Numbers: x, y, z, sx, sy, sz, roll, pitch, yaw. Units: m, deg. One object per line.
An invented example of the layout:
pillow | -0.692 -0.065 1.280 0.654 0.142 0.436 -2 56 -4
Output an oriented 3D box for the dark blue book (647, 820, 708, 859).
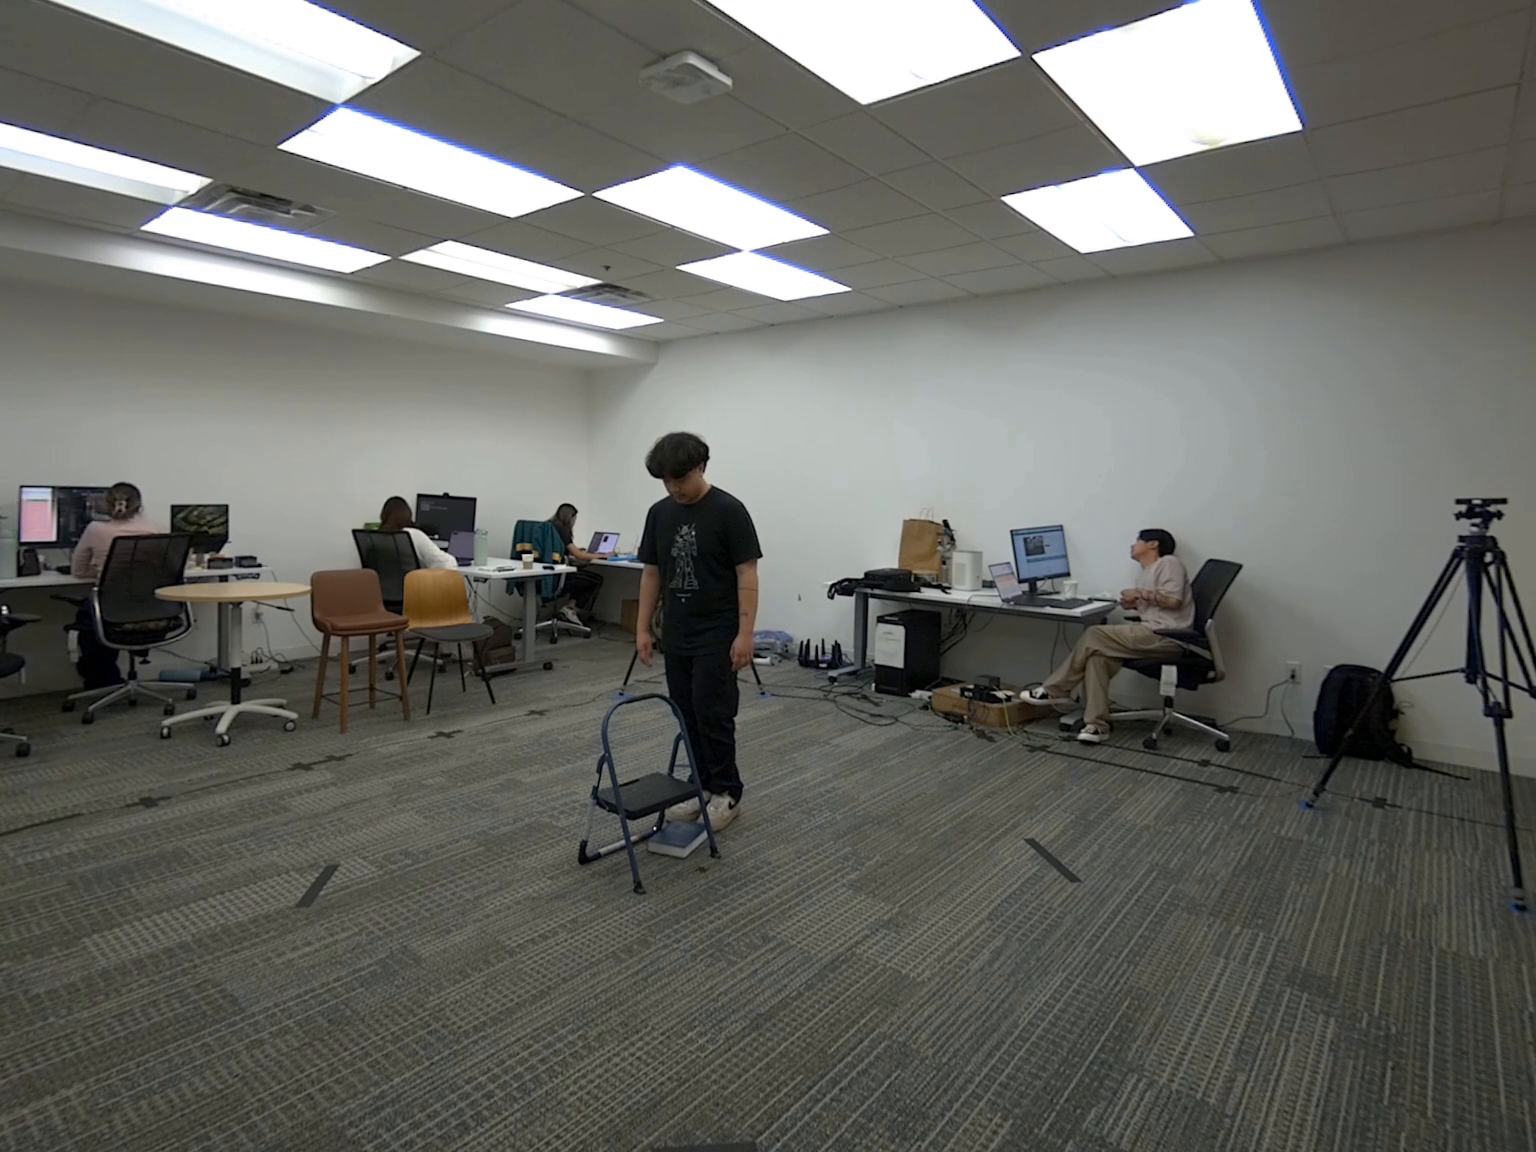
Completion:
dark blue book | -0.367 1.027 3.331 0.167 0.045 0.240 3 6 21
